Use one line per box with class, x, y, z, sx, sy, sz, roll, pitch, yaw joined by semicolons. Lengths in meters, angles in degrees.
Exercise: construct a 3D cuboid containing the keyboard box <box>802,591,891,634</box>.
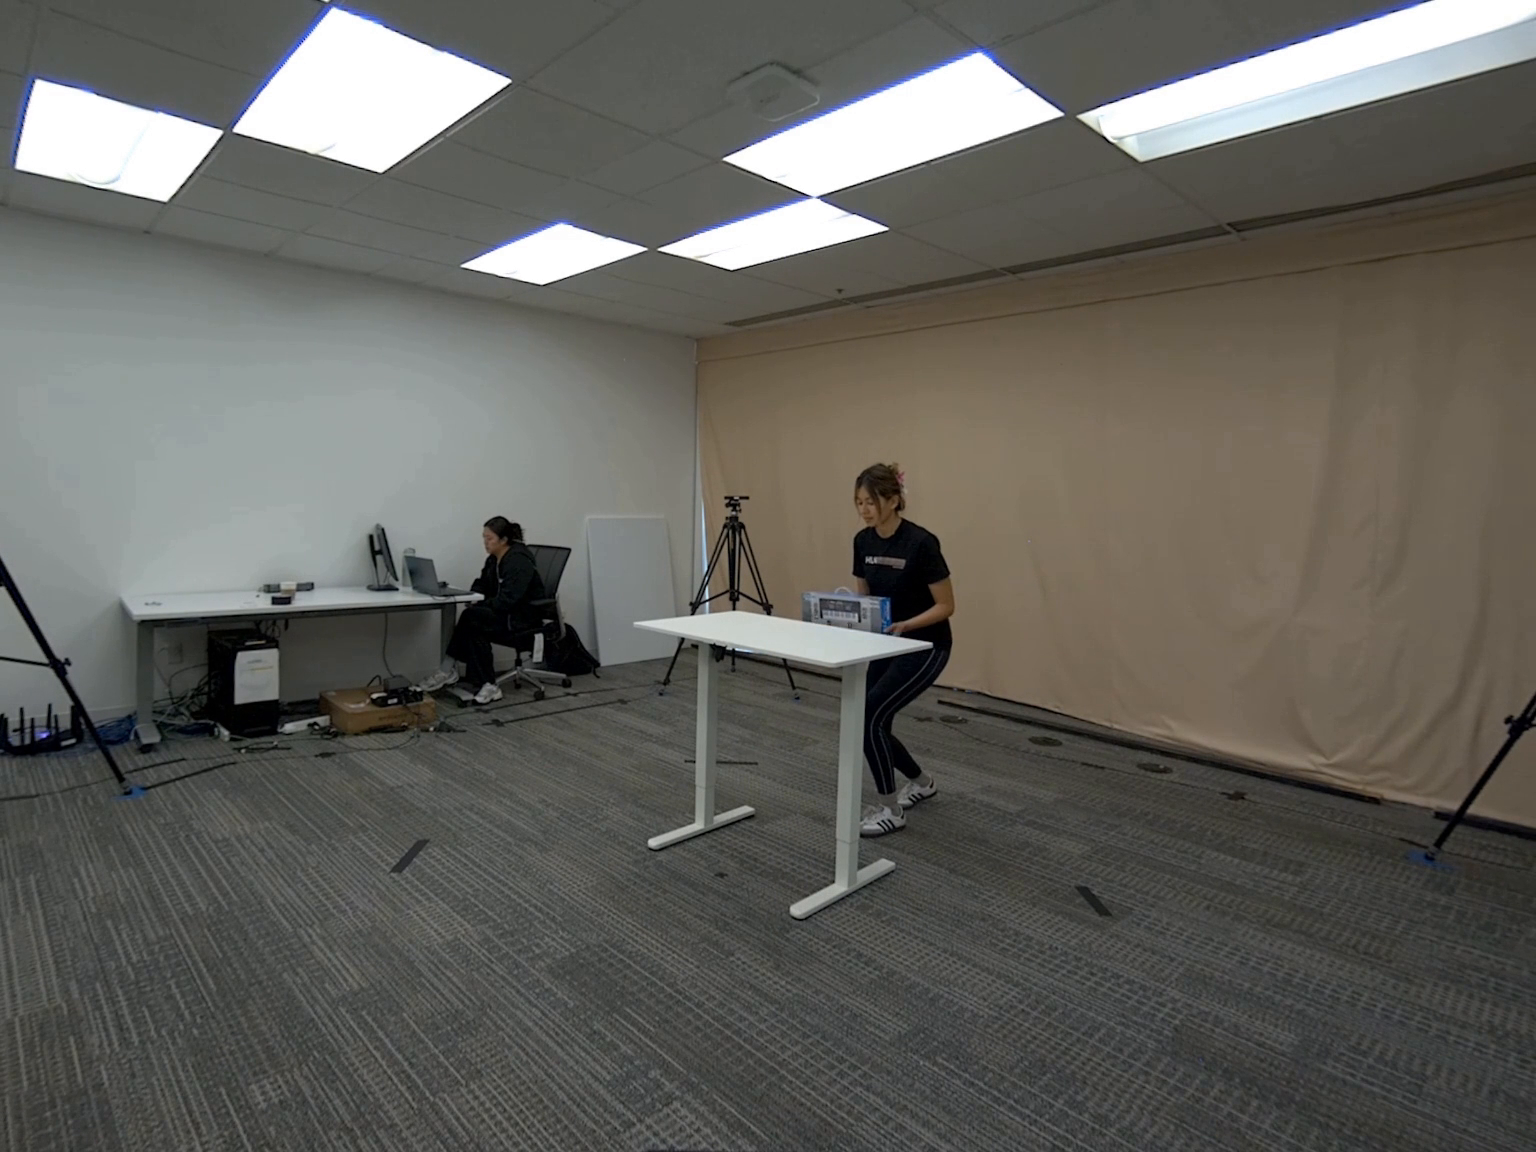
keyboard box;0.310;0.168;3.478;0.058;0.175;0.448;-6;7;-42
